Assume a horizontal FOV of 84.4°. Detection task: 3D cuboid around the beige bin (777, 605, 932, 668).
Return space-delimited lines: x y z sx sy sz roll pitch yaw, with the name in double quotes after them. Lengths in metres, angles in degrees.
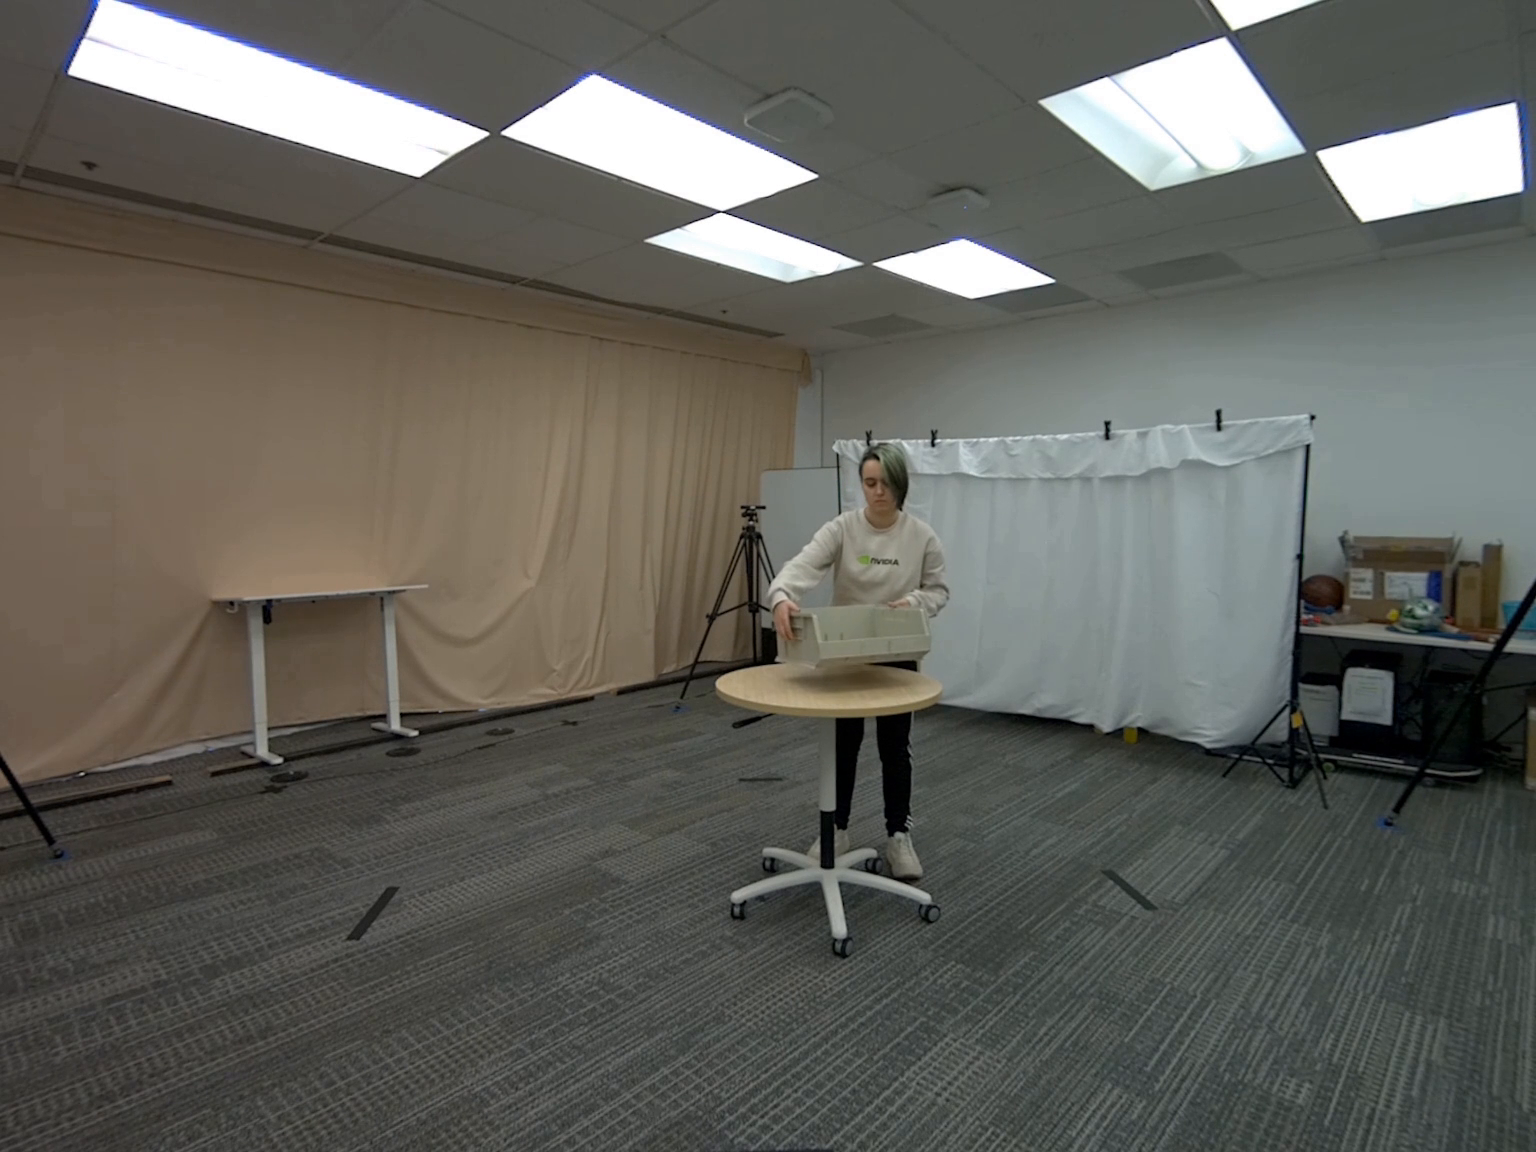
0.266 0.208 2.869 0.415 0.189 0.383 -2 0 -16 "beige bin"
